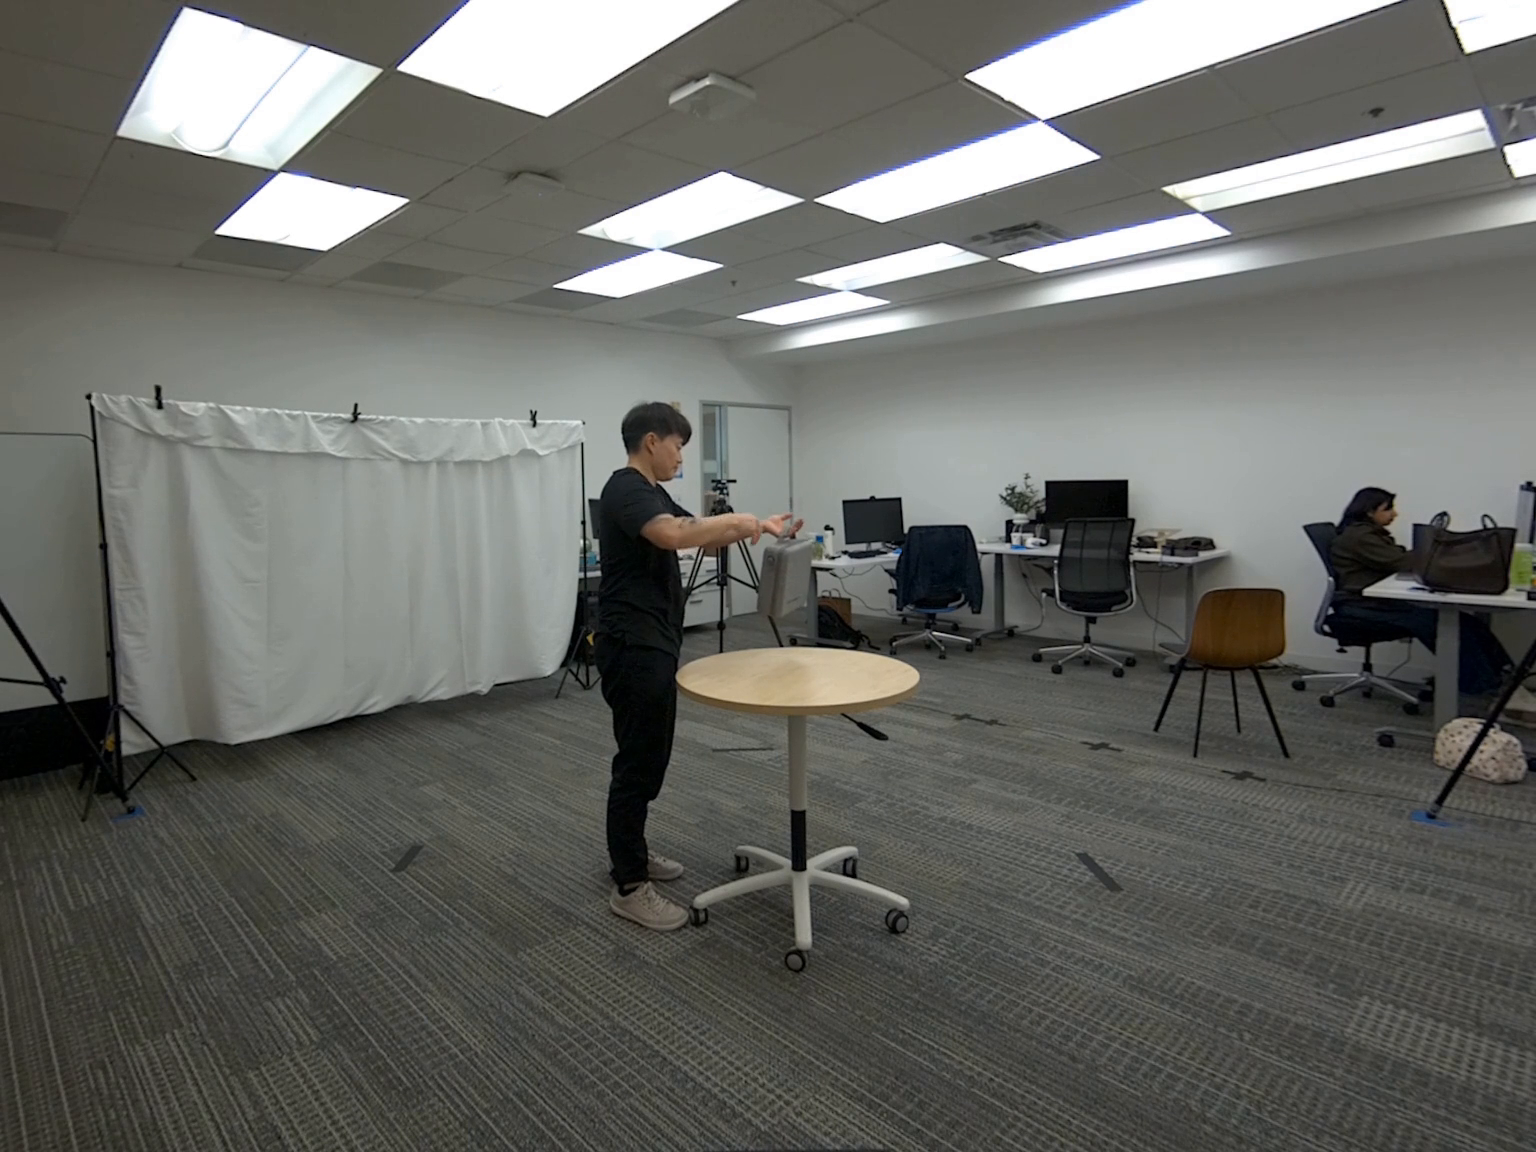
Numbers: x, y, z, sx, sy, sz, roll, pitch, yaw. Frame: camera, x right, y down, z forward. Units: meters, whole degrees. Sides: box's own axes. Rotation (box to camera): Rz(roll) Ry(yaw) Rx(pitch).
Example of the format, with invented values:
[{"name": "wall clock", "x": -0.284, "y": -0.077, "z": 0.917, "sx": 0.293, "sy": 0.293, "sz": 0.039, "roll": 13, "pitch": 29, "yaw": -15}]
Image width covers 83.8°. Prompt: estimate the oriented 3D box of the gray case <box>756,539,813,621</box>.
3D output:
[{"name": "gray case", "x": 0.067, "y": -0.002, "z": 3.055, "sx": 0.107, "sy": 0.258, "sz": 0.252, "roll": 10, "pitch": 13, "yaw": 28}]
